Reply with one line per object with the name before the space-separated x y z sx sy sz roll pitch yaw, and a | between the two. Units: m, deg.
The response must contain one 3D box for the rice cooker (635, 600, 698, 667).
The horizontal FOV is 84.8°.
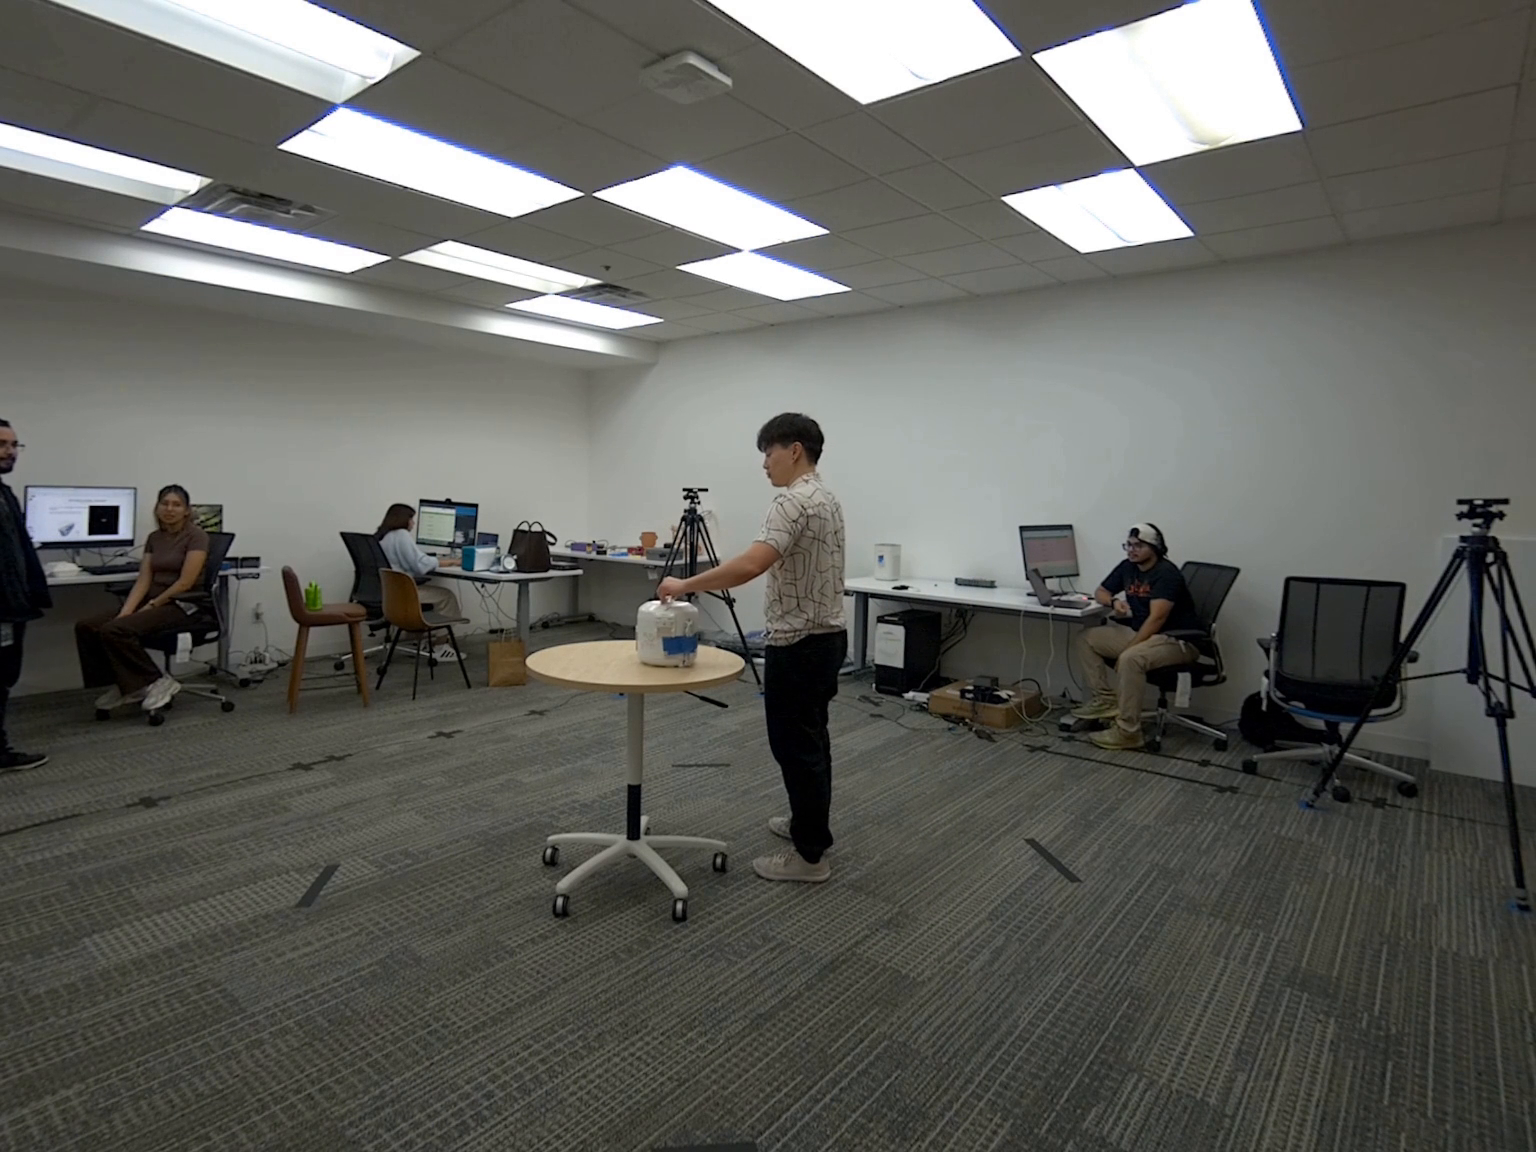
rice cooker | -0.361 0.185 2.965 0.218 0.232 0.220 2 4 2
